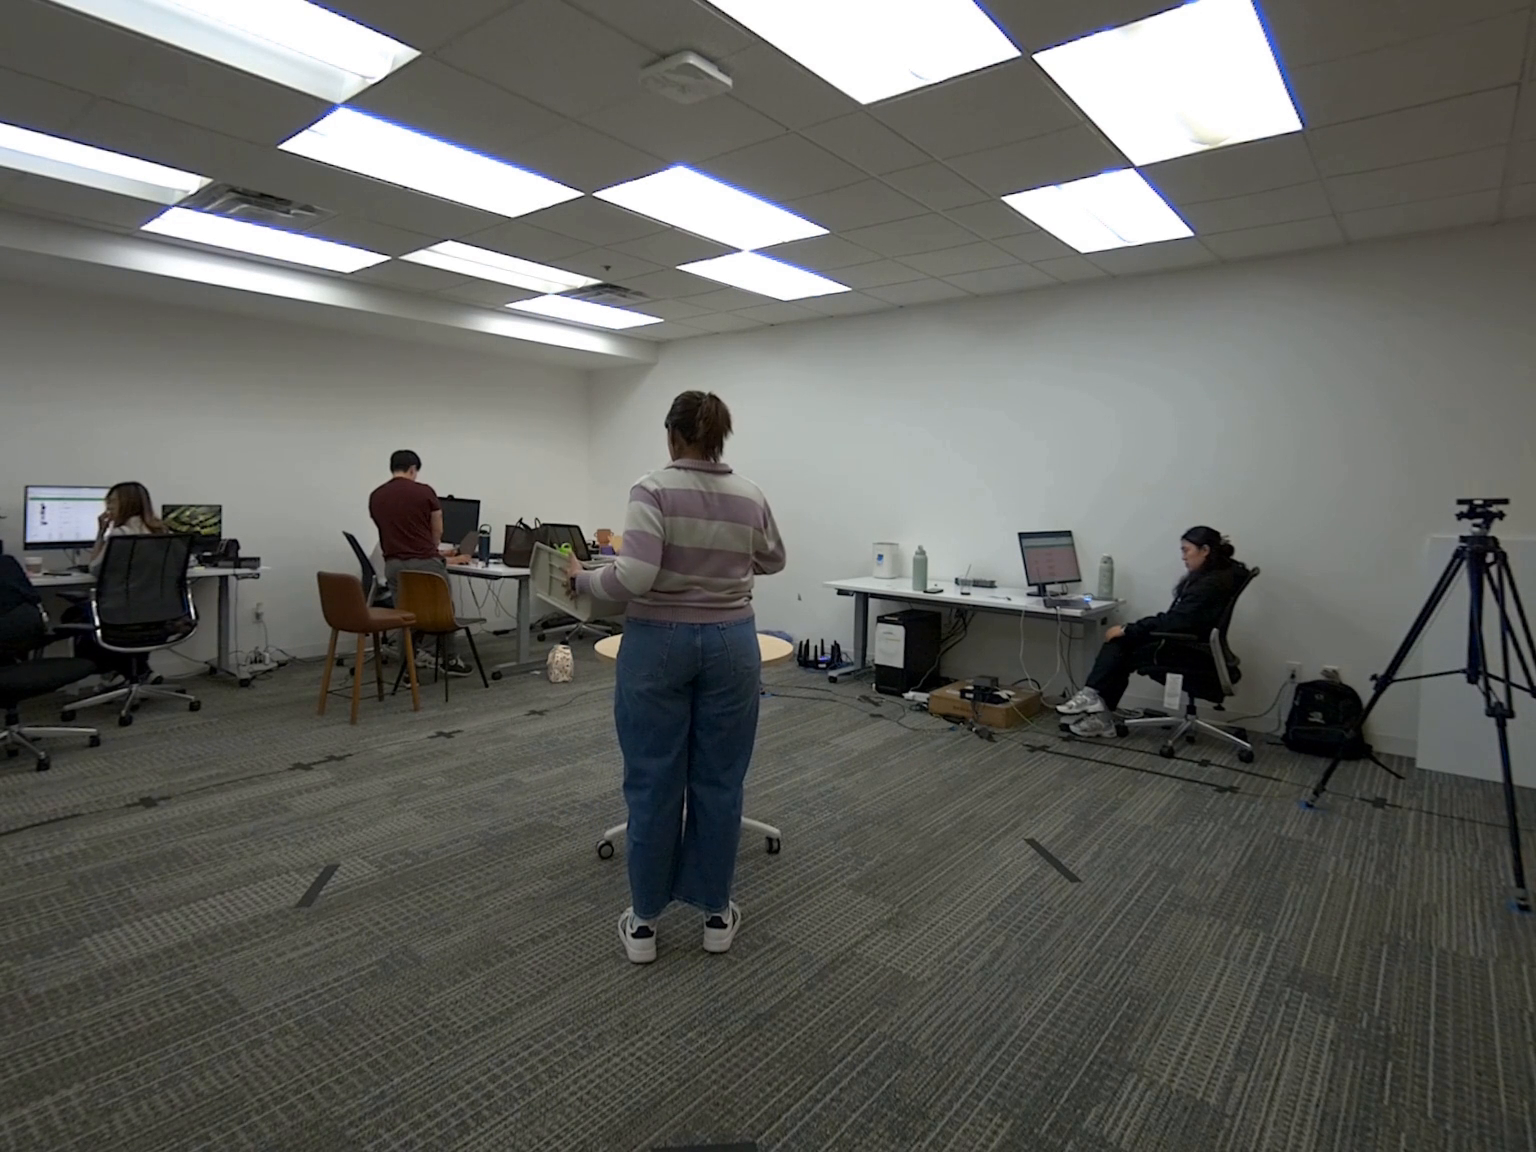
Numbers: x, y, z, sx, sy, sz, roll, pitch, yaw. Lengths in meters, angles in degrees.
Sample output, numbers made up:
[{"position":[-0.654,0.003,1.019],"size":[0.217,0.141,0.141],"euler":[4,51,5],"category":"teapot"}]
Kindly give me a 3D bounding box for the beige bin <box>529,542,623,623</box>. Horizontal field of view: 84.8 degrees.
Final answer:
[{"position":[-0.522,-0.005,2.822],"size":[0.410,0.187,0.392],"euler":[-6,18,-41],"category":"beige bin"}]
